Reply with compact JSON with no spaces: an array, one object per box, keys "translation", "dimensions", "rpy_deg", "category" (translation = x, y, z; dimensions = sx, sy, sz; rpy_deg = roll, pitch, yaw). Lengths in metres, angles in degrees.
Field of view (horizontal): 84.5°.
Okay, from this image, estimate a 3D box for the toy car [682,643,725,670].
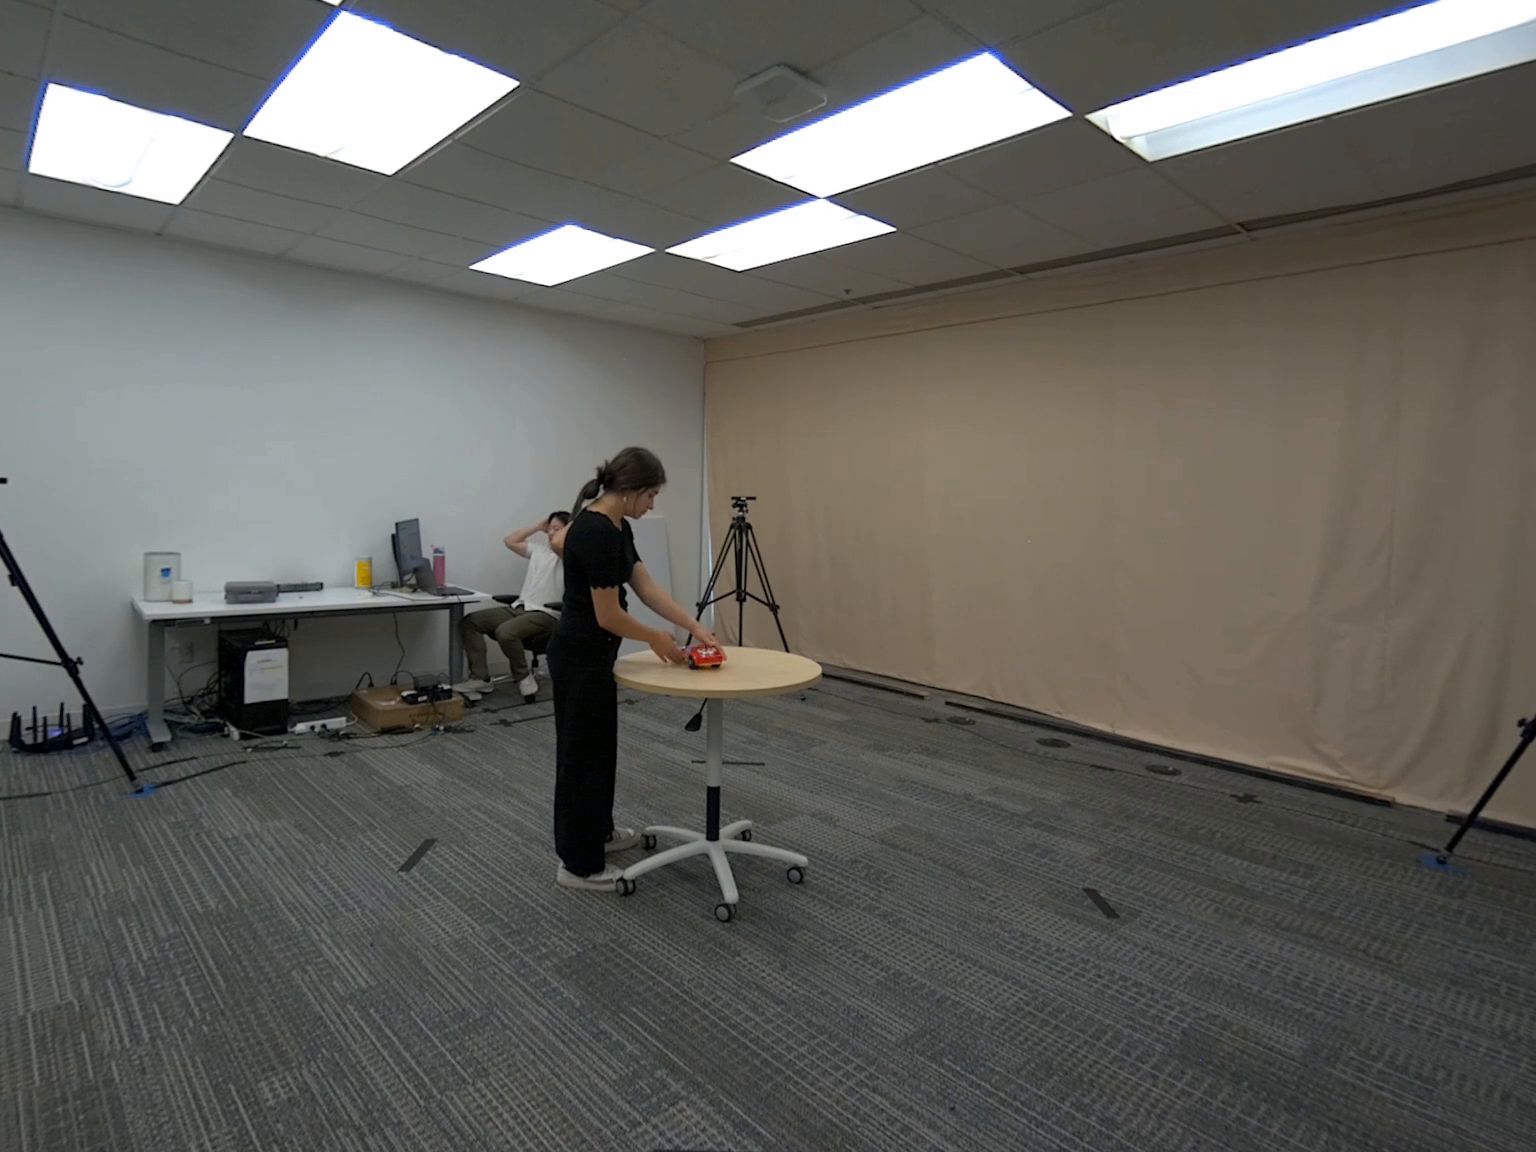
[{"translation":[-0.259,0.294,3.040],"dimensions":[0.128,0.083,0.258],"rpy_deg":[-1,-5,-29],"category":"toy car"}]
